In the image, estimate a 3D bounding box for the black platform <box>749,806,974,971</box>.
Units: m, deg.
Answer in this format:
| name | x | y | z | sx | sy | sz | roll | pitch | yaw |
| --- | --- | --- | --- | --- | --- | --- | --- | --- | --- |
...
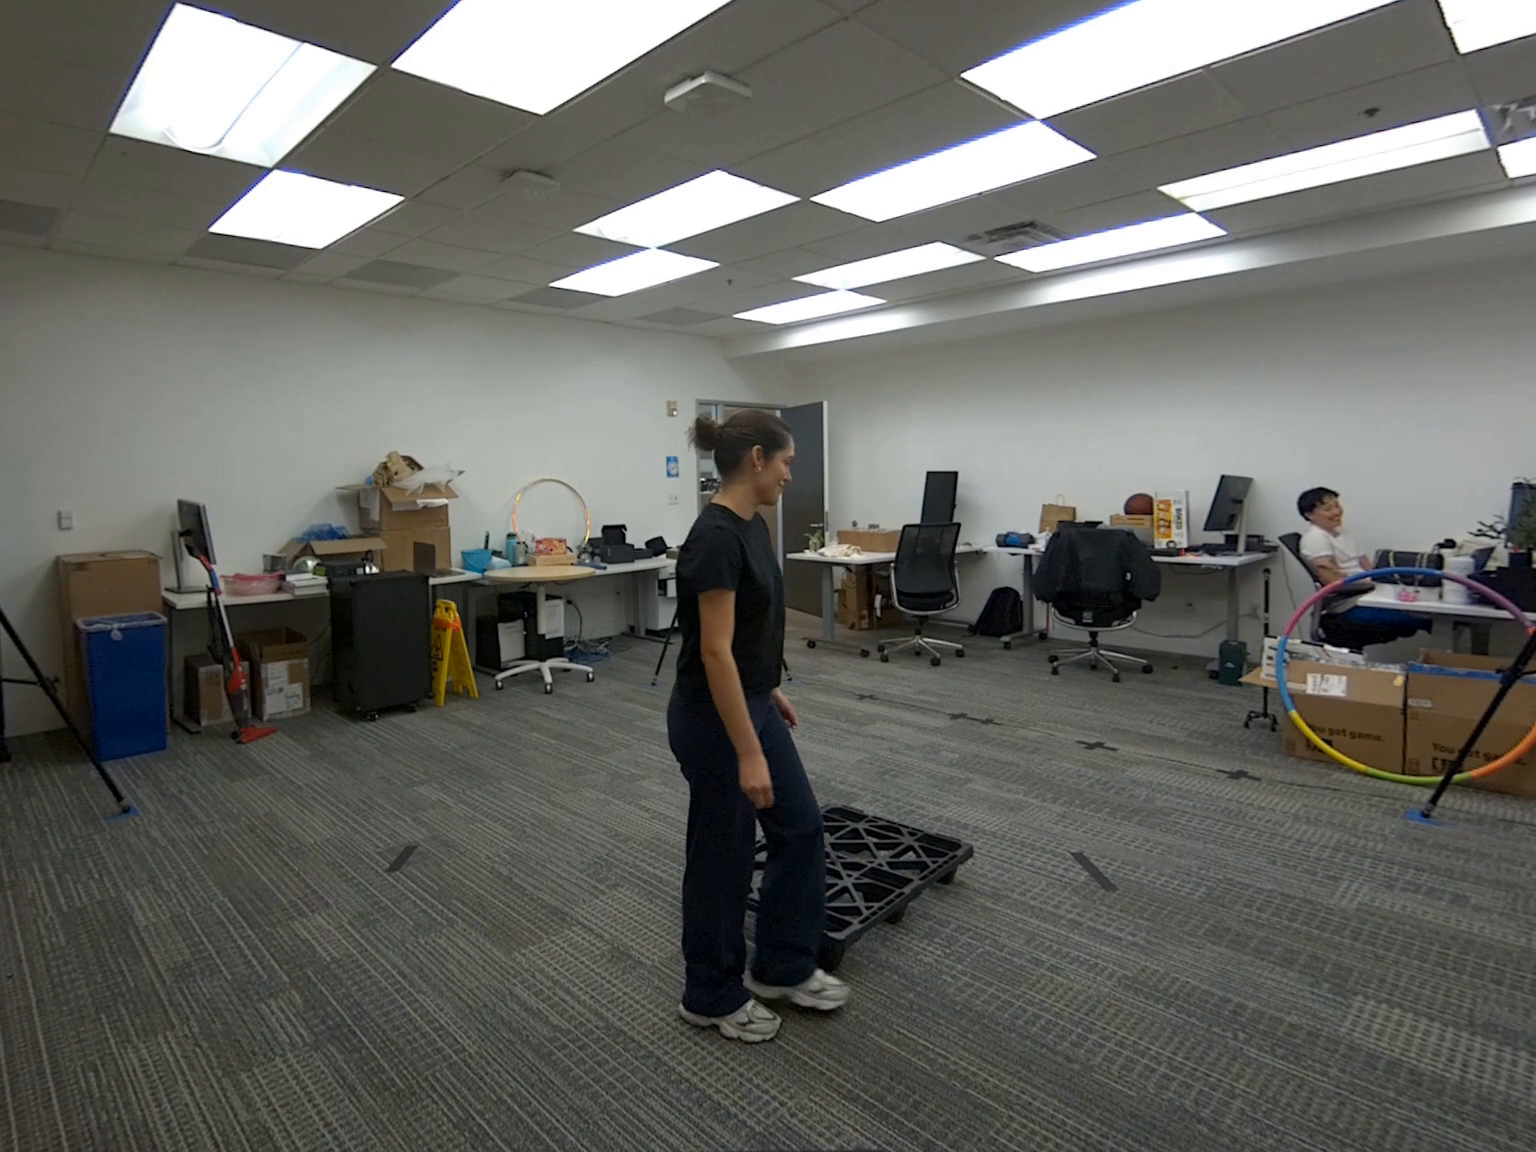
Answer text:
| name | x | y | z | sx | sy | sz | roll | pitch | yaw |
| --- | --- | --- | --- | --- | --- | --- | --- | --- | --- |
| black platform | 0.233 | 1.004 | 2.849 | 0.624 | 0.142 | 0.785 | 5 | 9 | 41 |
